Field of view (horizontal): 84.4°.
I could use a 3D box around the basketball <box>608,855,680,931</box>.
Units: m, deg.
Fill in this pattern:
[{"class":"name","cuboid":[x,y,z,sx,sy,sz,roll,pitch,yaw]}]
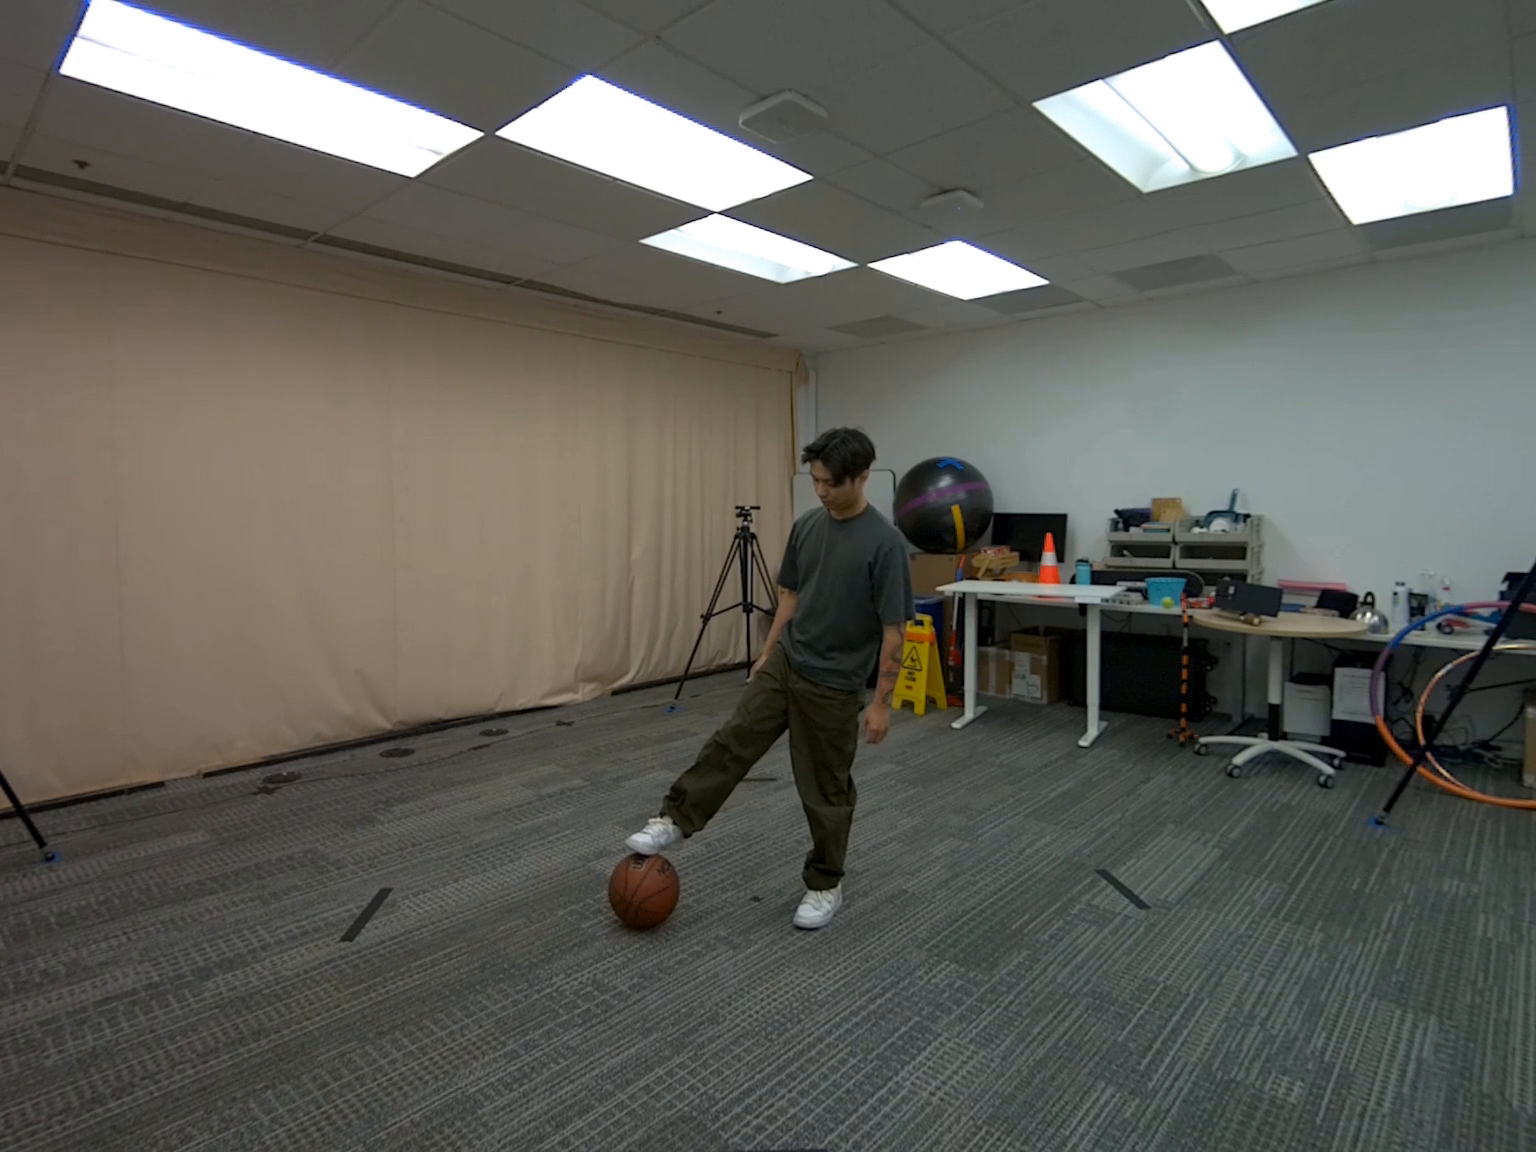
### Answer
[{"class":"basketball","cuboid":[-0.409,1.049,2.800,0.236,0.235,0.237,0,4,-2]}]
